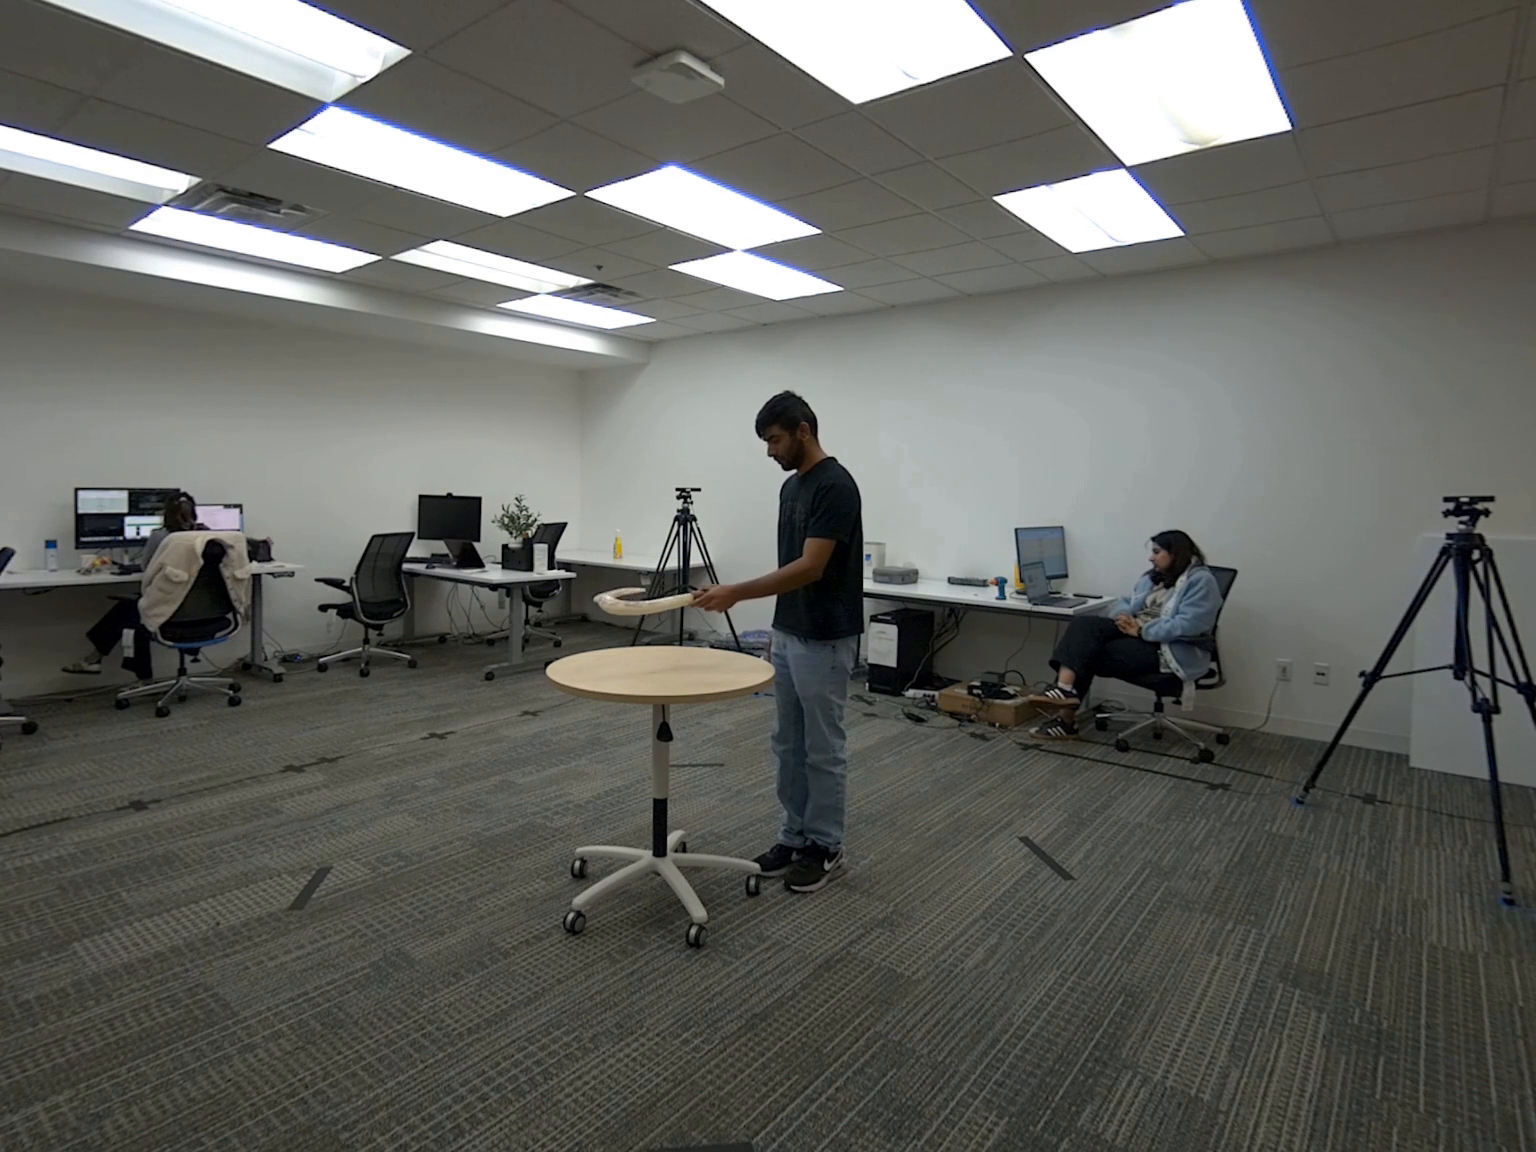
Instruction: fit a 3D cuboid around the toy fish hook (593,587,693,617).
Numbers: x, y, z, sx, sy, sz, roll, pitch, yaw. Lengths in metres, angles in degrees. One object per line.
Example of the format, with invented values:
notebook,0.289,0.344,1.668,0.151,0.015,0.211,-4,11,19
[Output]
toy fish hook,-0.316,0.066,2.844,0.495,0.047,0.233,-4,21,-25
